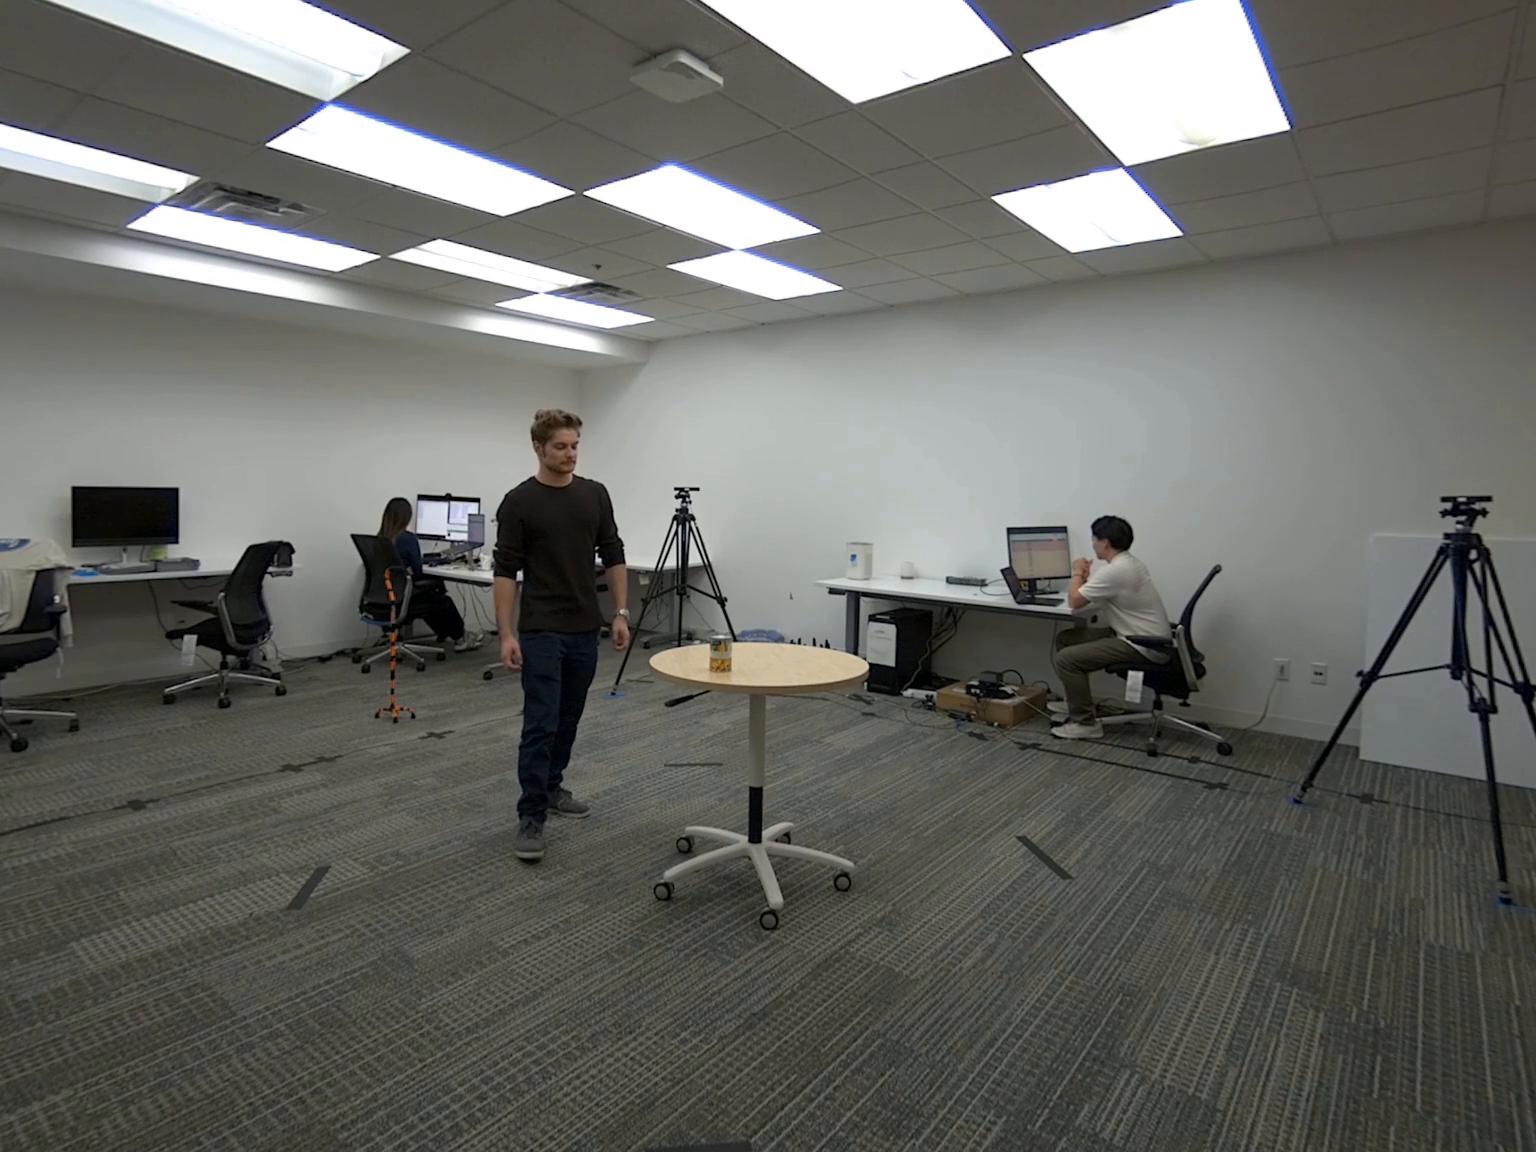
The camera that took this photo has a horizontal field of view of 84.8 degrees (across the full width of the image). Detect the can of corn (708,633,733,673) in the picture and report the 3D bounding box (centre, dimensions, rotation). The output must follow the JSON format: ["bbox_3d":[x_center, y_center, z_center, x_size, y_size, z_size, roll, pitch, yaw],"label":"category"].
[{"bbox_3d":[-0.166,0.255,2.825,0.074,0.111,0.074,1,1,-2],"label":"can of corn"}]
